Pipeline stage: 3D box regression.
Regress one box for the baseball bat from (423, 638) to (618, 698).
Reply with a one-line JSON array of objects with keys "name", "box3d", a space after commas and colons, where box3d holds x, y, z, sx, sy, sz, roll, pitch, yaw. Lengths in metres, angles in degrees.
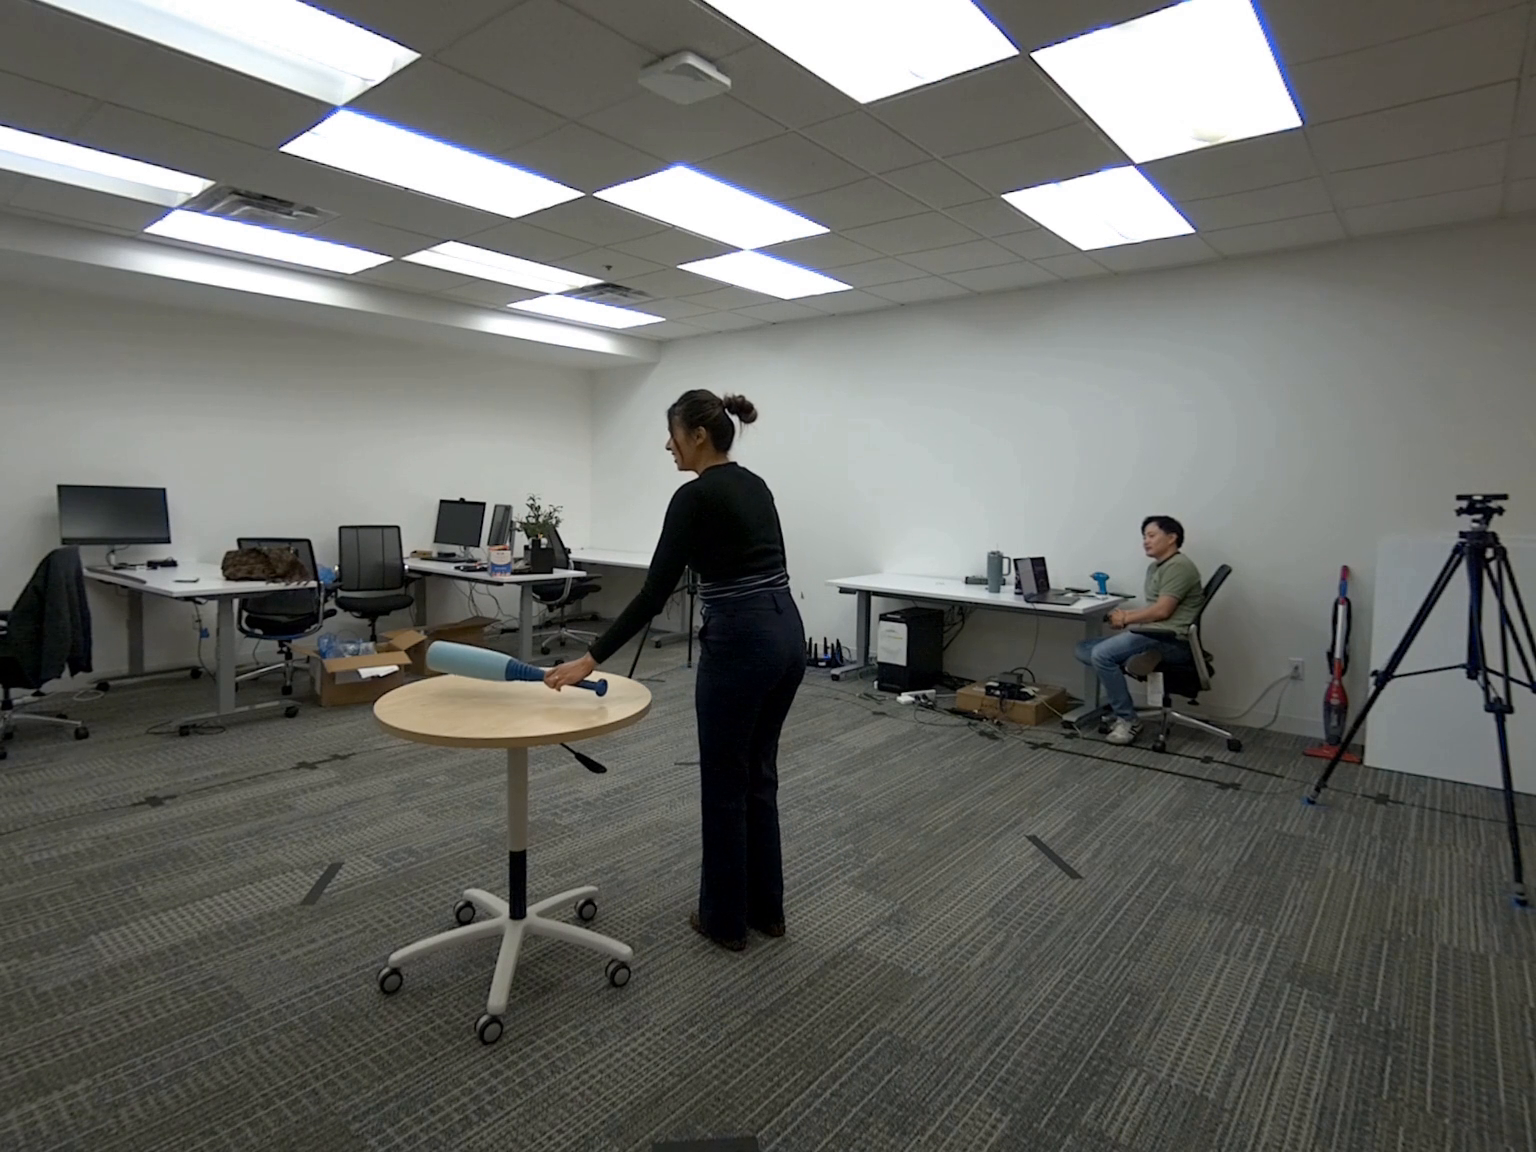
[{"name": "baseball bat", "box3d": [-0.719, 0.264, 2.441, 0.546, 0.089, 0.089, 6, 4, 5]}]
